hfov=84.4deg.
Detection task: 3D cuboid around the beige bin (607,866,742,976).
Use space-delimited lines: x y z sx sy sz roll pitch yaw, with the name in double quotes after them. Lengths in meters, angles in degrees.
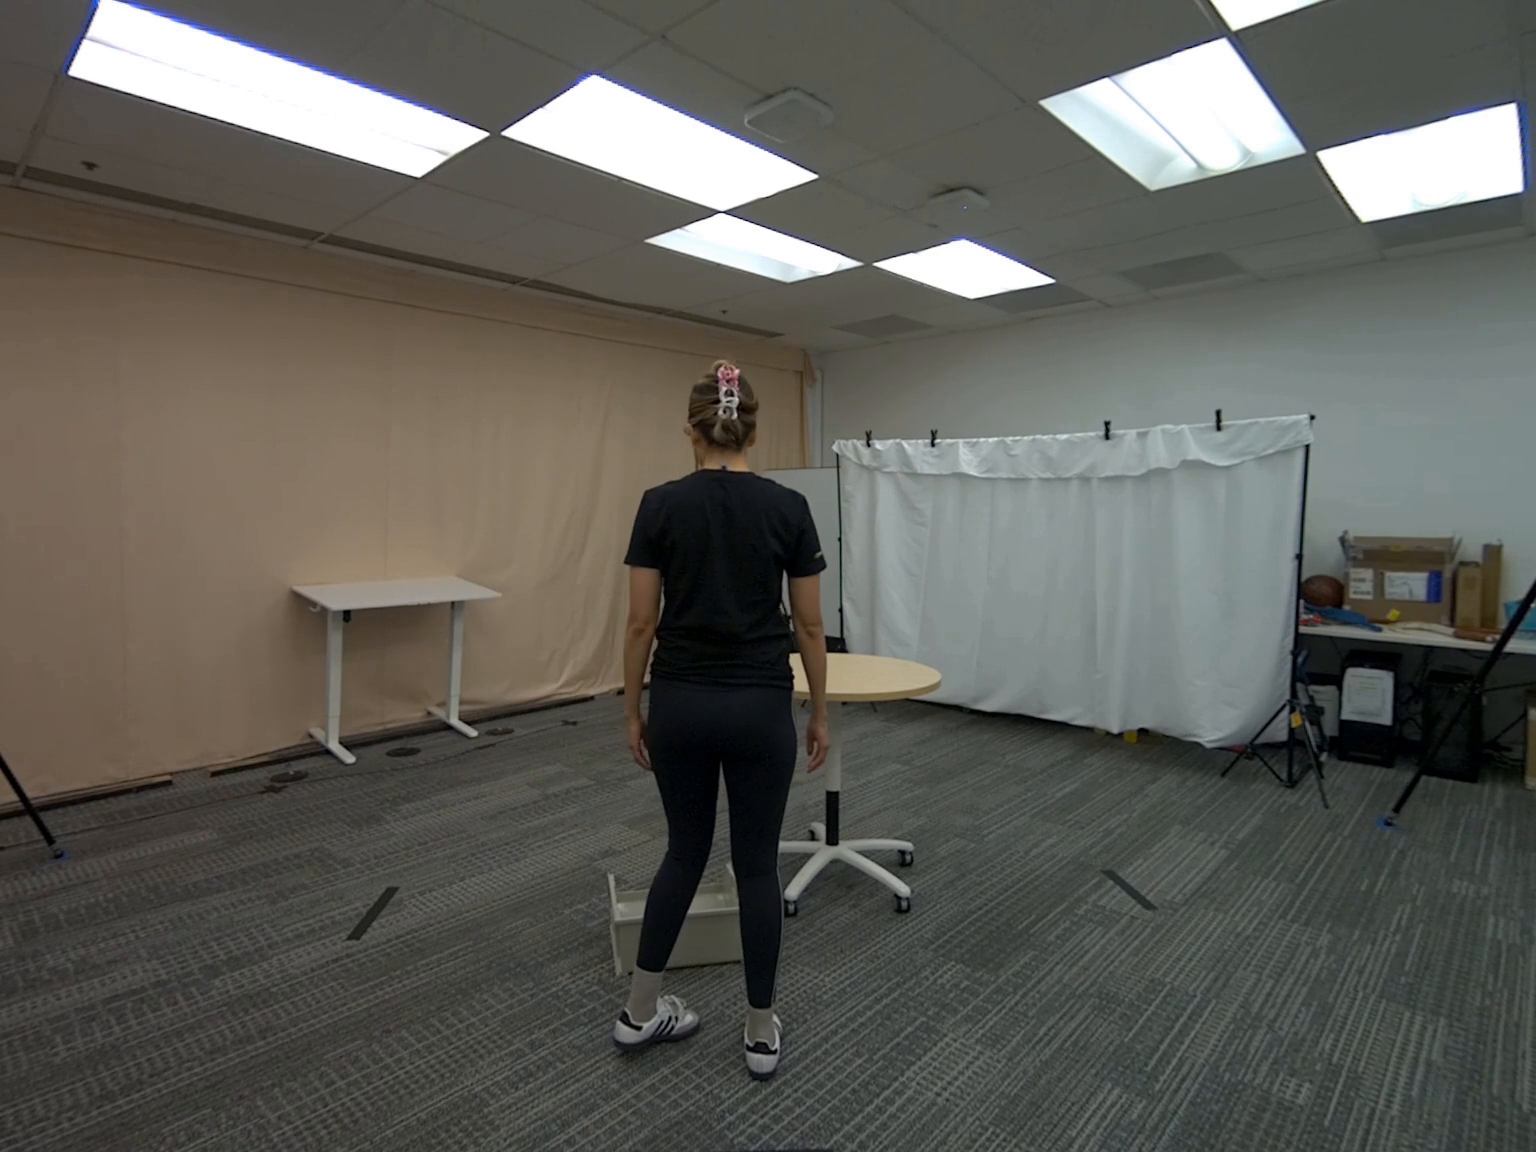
-0.294 1.087 2.694 0.417 0.188 0.383 -1 5 -13 "beige bin"
